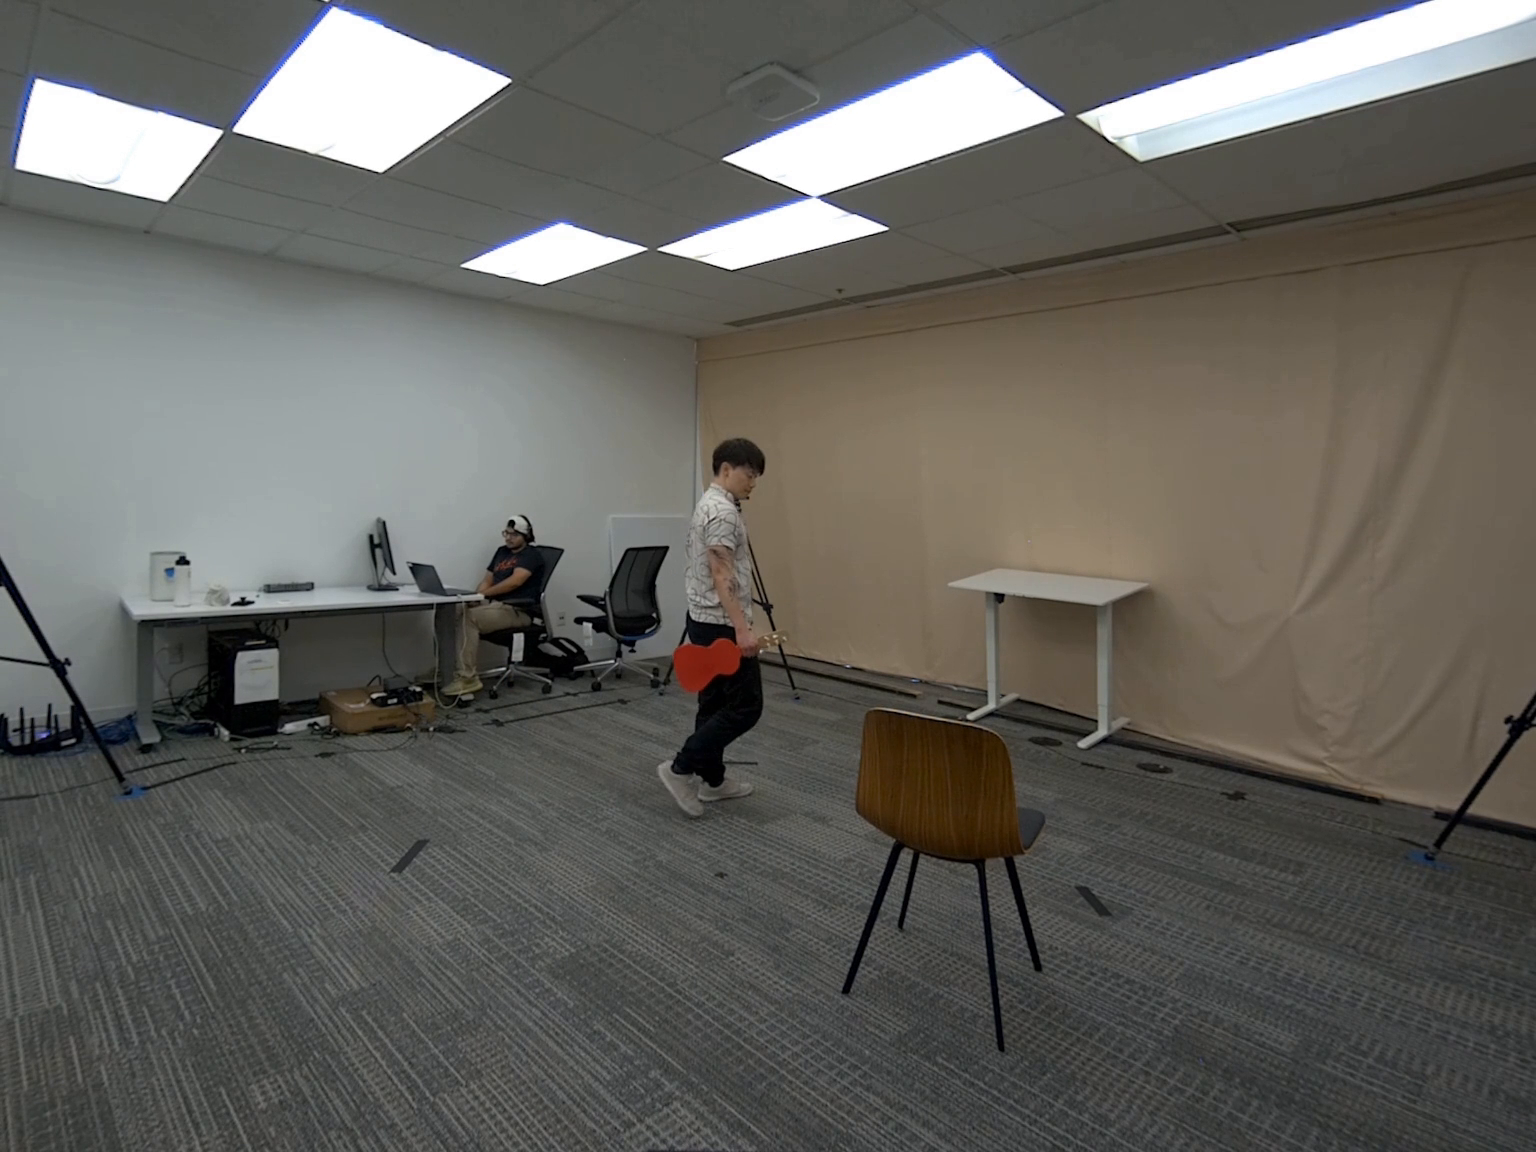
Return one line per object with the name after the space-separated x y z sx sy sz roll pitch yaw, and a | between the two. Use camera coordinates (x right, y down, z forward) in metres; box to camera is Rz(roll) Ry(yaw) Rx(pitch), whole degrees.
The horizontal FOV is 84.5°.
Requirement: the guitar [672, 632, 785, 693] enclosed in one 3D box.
-0.169 0.298 3.471 0.496 0.193 0.071 -25 0 -8 | guitar
